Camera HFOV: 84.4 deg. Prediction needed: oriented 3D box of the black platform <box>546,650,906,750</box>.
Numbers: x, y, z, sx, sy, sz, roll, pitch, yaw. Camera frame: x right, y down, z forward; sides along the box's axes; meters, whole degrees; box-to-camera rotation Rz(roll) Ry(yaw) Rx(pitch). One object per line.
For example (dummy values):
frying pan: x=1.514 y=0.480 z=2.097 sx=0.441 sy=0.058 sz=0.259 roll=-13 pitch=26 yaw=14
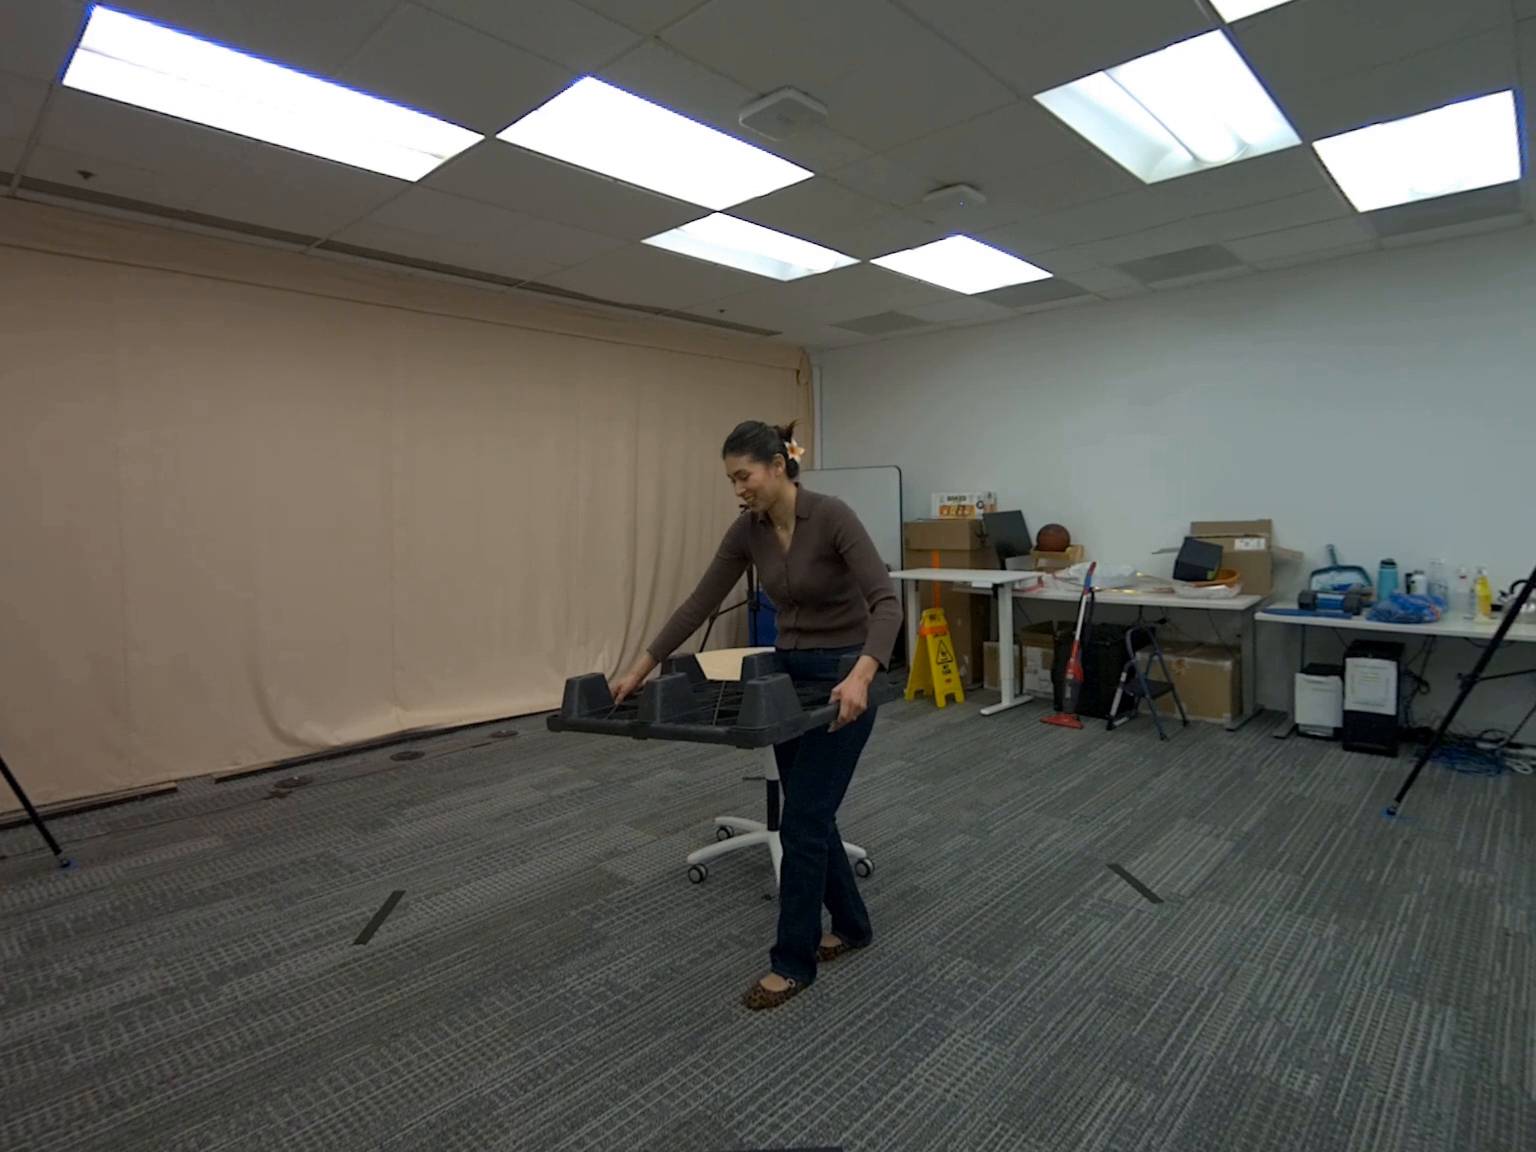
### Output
black platform: x=-0.131 y=0.309 z=2.273 sx=0.830 sy=0.143 sz=0.587 roll=-5 pitch=1 yaw=42
